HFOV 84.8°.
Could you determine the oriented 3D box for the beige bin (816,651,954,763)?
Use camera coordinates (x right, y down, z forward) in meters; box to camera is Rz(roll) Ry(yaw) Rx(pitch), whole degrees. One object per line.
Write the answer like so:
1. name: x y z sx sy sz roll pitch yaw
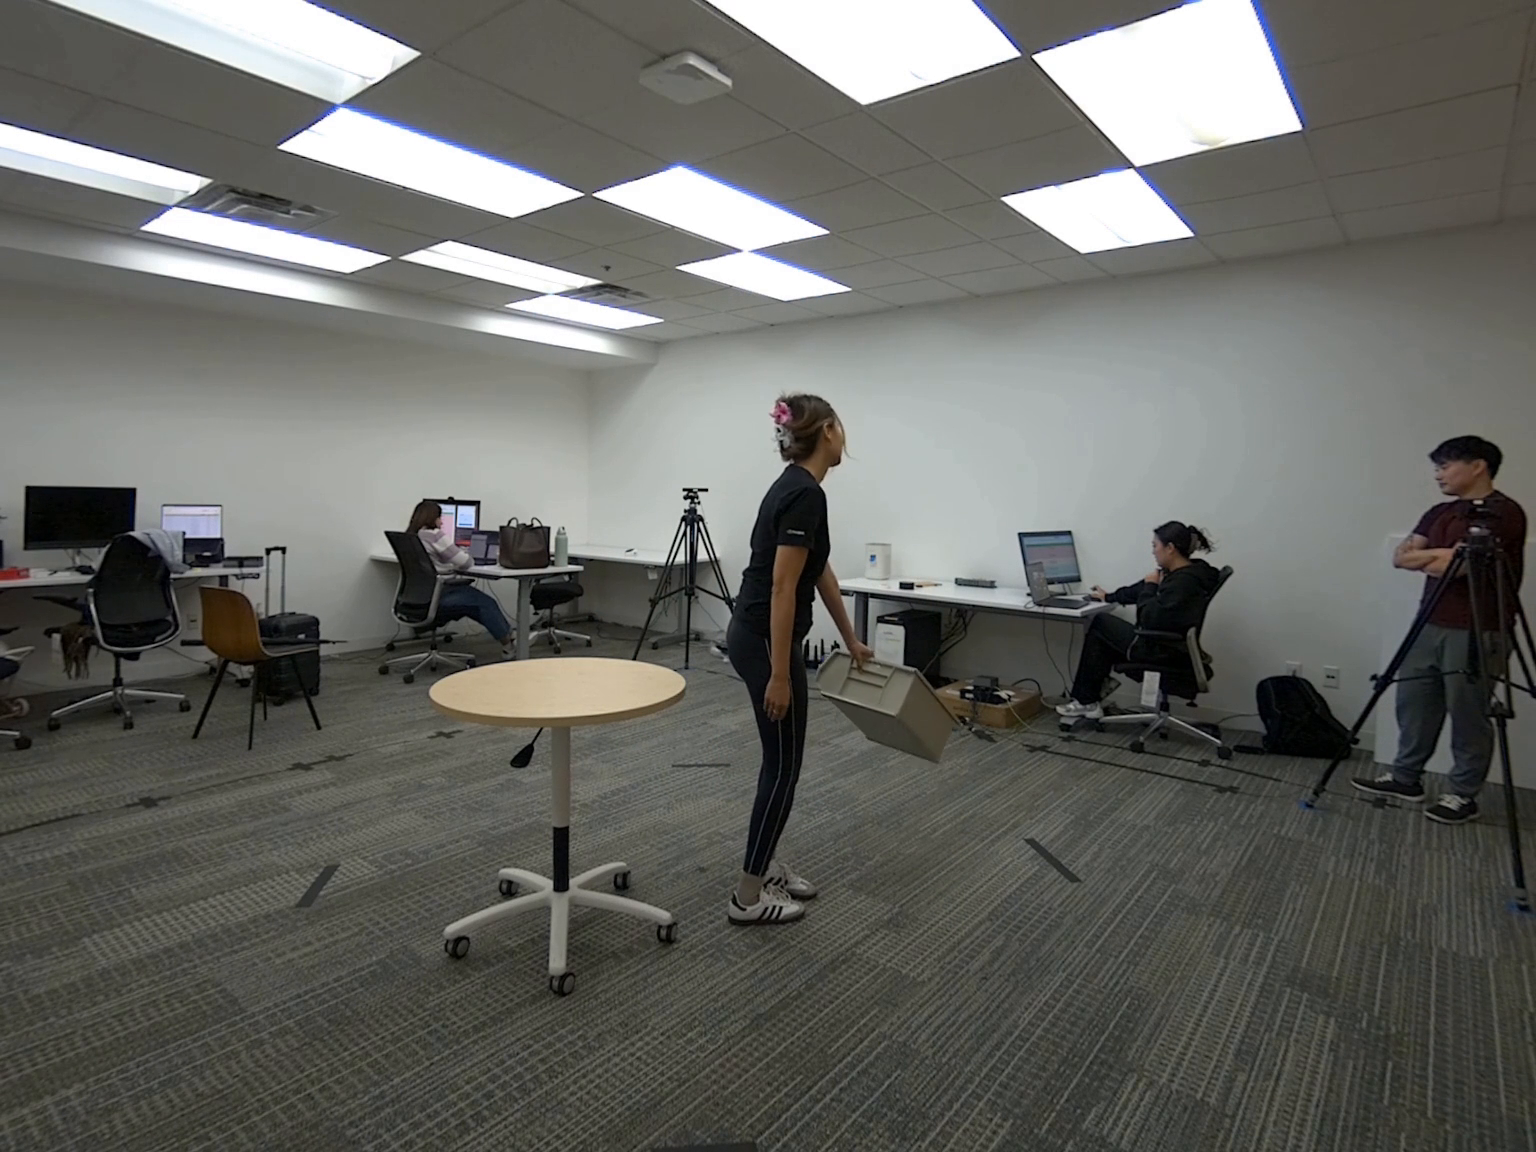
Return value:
1. beige bin: 0.409 0.475 3.106 0.391 0.190 0.405 12 -26 42
